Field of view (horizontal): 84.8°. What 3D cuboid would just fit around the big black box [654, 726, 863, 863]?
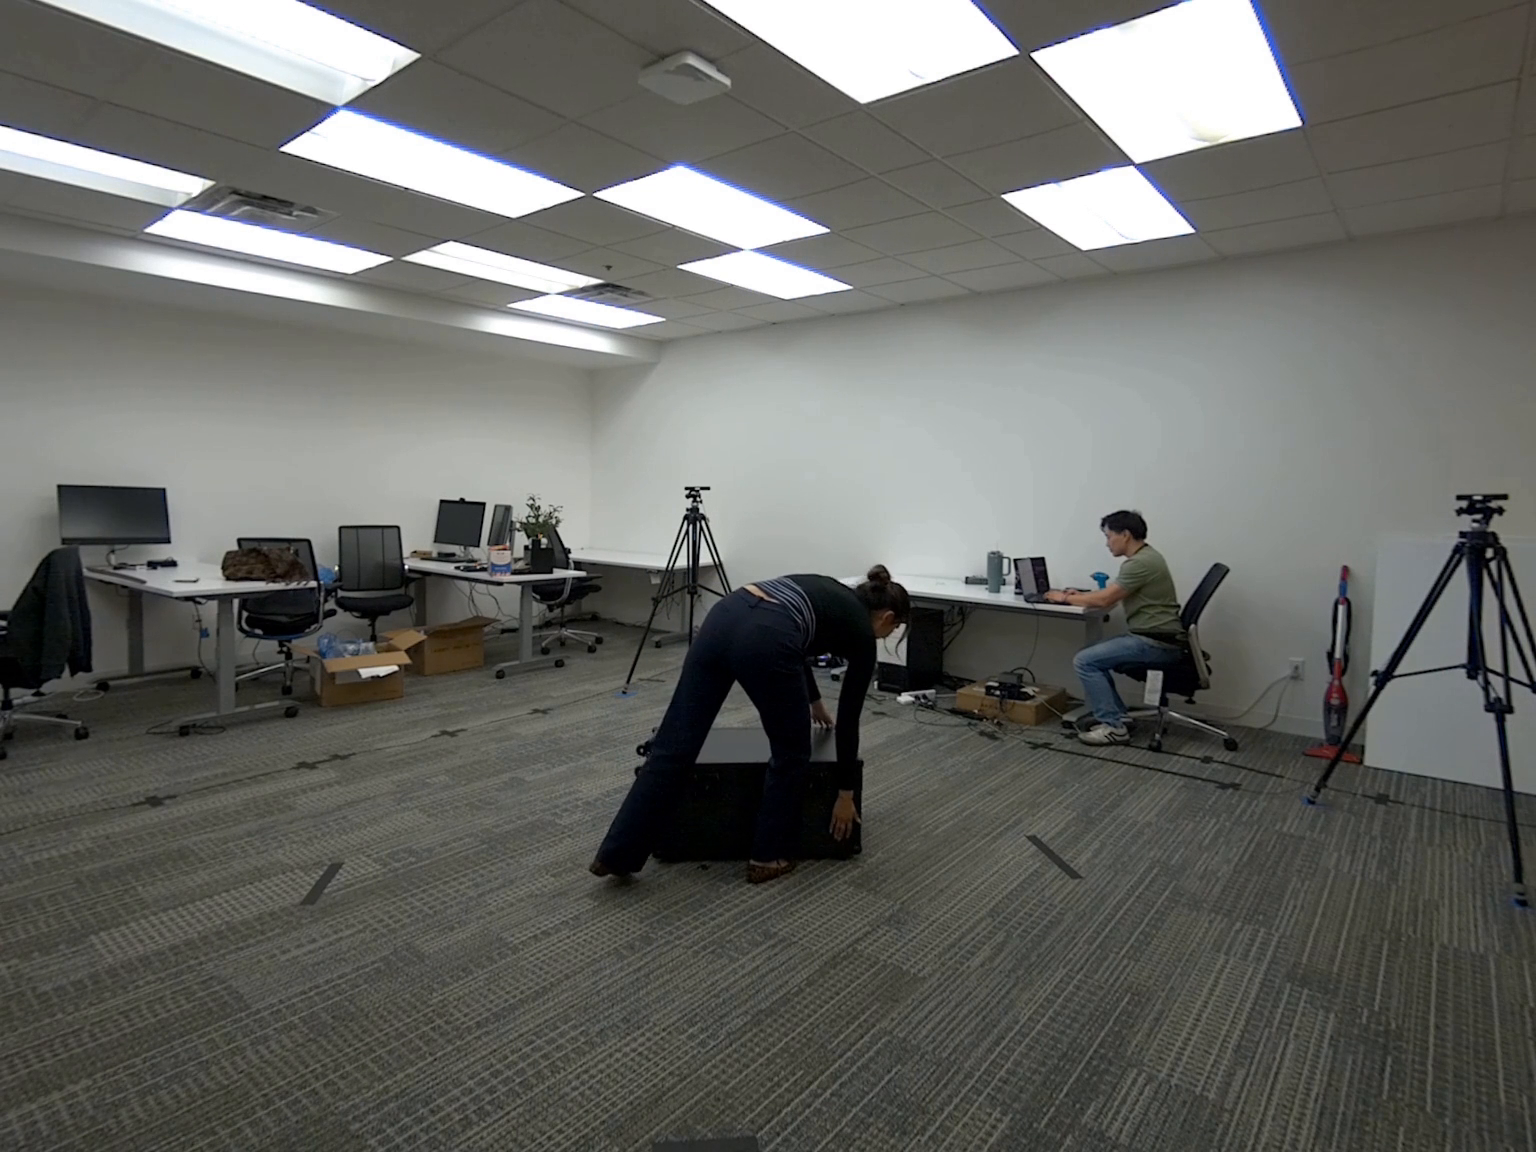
[{"bbox_3d":[-0.114,0.845,3.392,0.857,0.395,0.526,1,5,-6],"label":"big black box"}]
